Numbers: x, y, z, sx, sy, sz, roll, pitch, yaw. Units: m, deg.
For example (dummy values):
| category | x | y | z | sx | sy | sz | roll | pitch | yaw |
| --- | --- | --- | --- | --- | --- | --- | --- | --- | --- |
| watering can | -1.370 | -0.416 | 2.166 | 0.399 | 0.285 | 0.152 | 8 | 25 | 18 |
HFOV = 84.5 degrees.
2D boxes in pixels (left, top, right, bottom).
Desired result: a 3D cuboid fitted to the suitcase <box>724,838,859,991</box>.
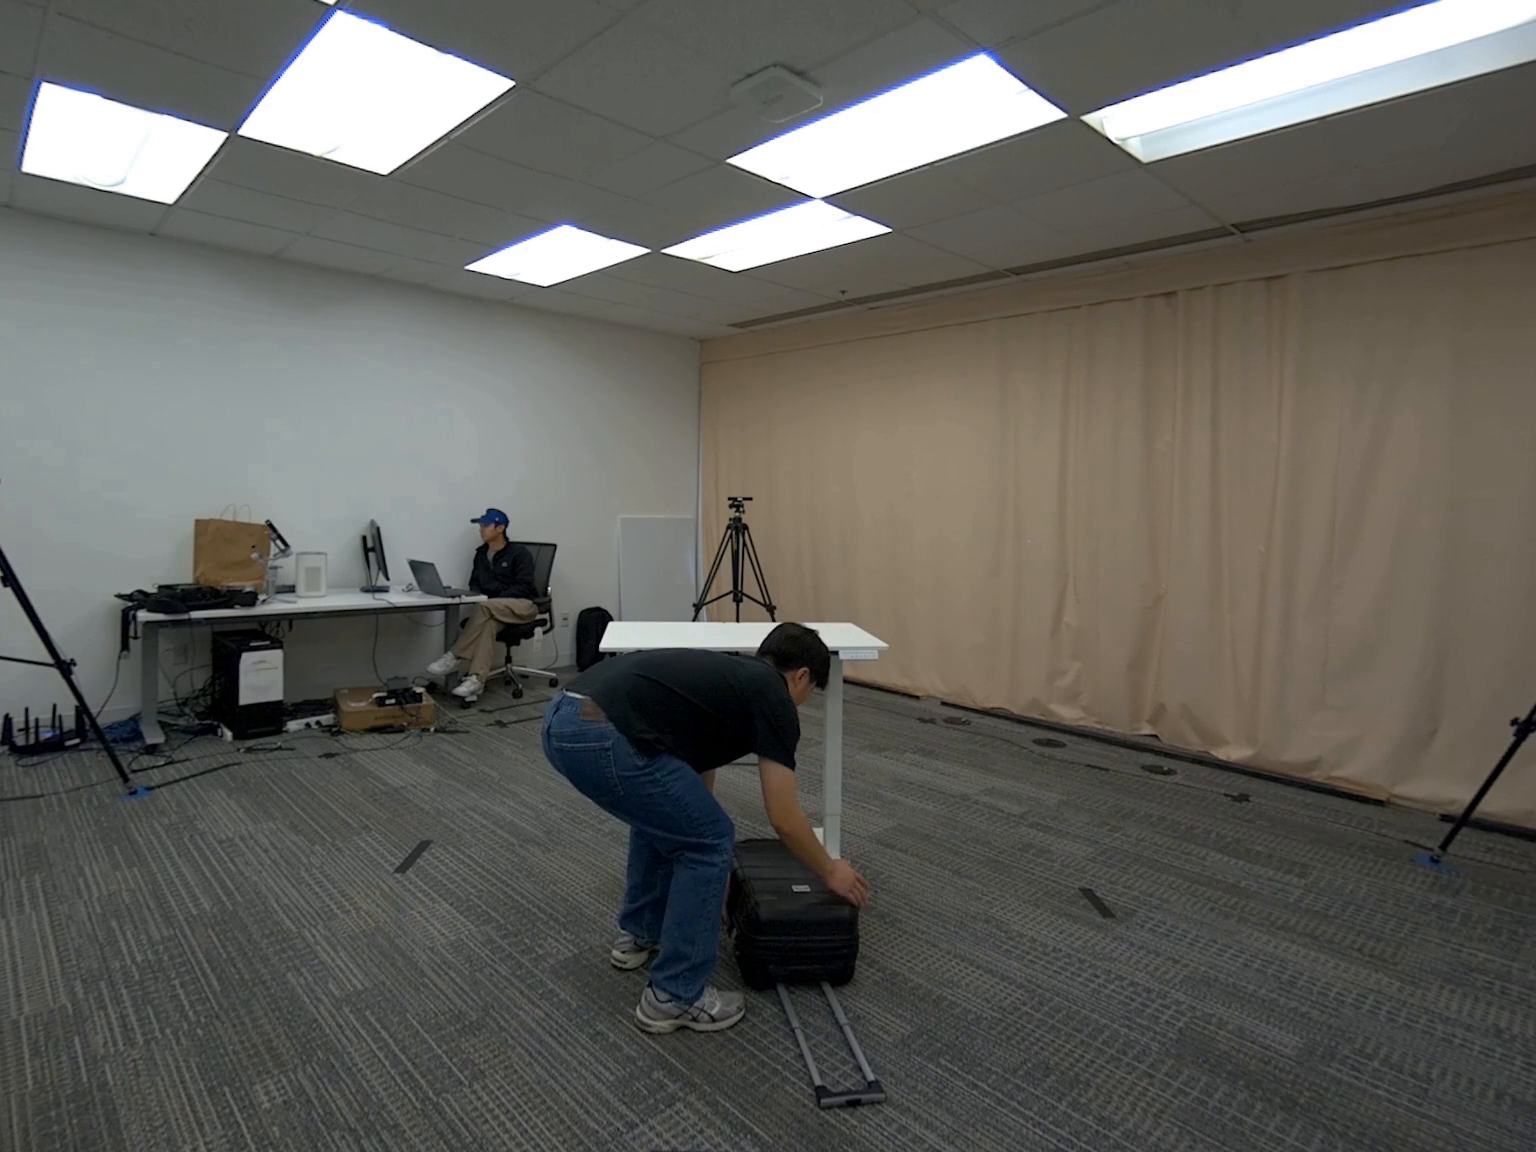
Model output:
| category | x | y | z | sx | sy | sz | roll | pitch | yaw |
| --- | --- | --- | --- | --- | --- | --- | --- | --- | --- |
| suitcase | 0.089 | 1.051 | 2.415 | 0.381 | 0.256 | 0.989 | 2 | 5 | -11 |
